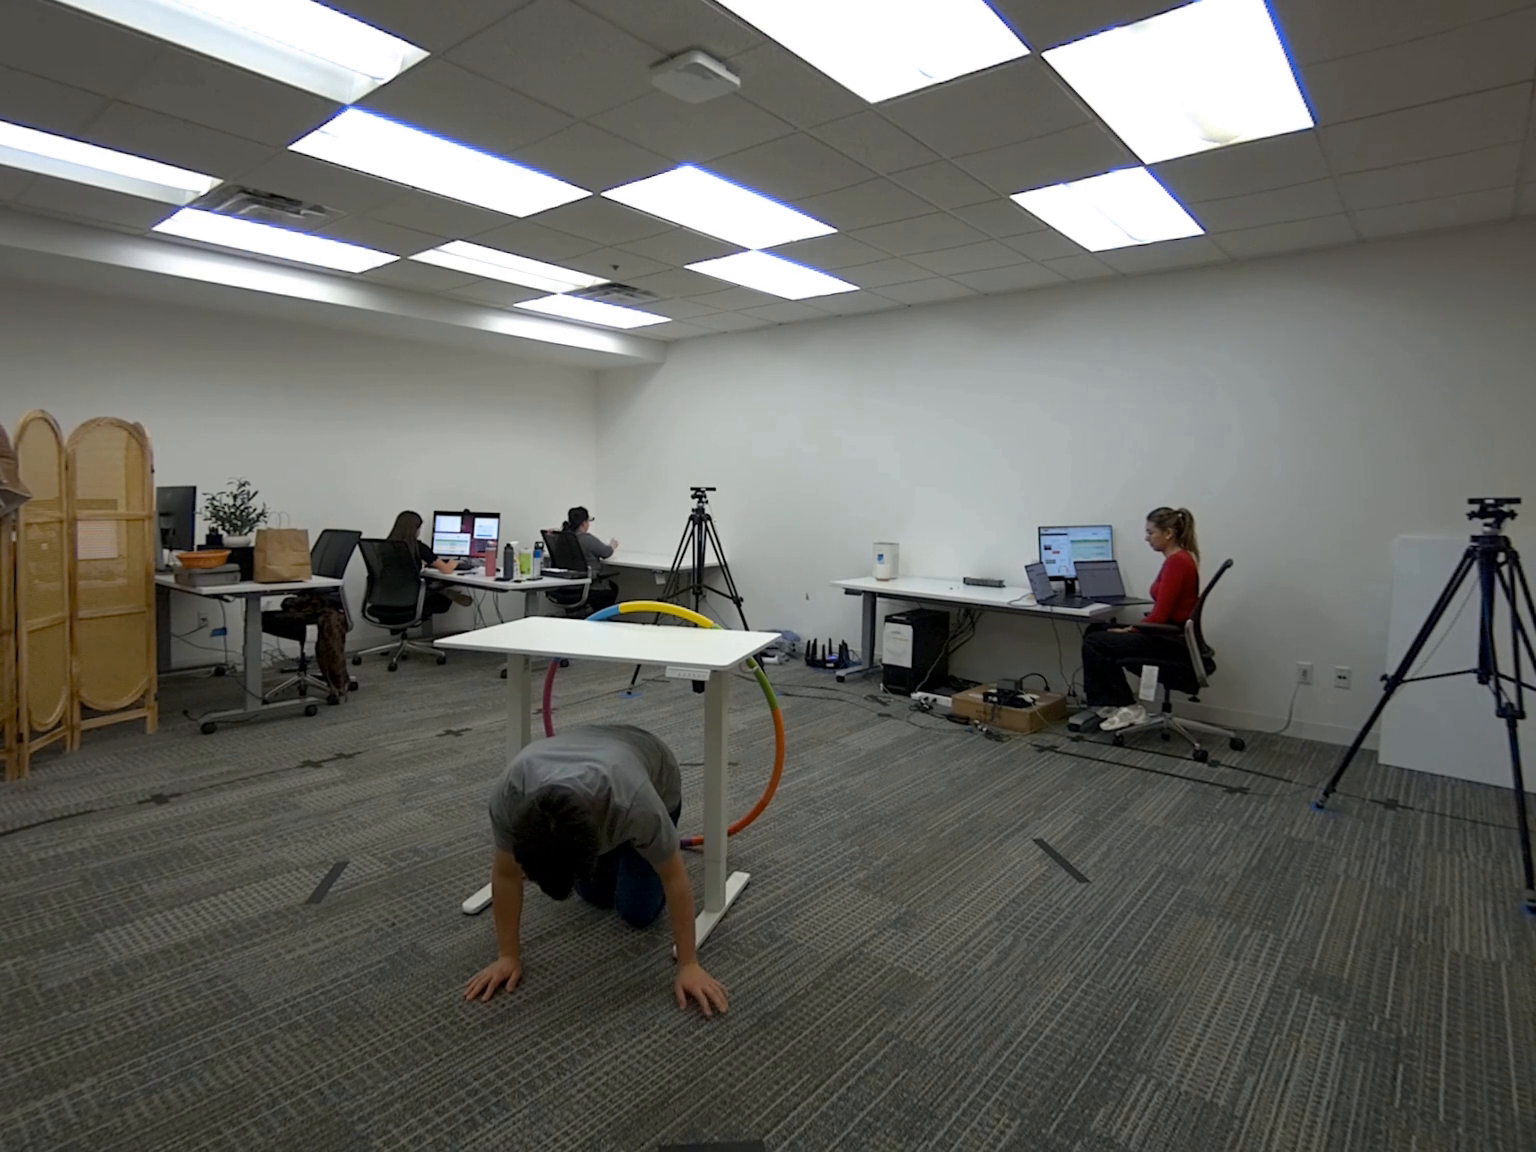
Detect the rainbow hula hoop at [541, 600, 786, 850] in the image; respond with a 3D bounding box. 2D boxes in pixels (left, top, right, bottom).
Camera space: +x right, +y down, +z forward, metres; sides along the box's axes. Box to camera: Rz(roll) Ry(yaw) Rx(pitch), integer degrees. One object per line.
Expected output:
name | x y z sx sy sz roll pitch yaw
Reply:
rainbow hula hoop | -0.423 0.570 3.219 0.998 0.967 0.035 3 12 18
